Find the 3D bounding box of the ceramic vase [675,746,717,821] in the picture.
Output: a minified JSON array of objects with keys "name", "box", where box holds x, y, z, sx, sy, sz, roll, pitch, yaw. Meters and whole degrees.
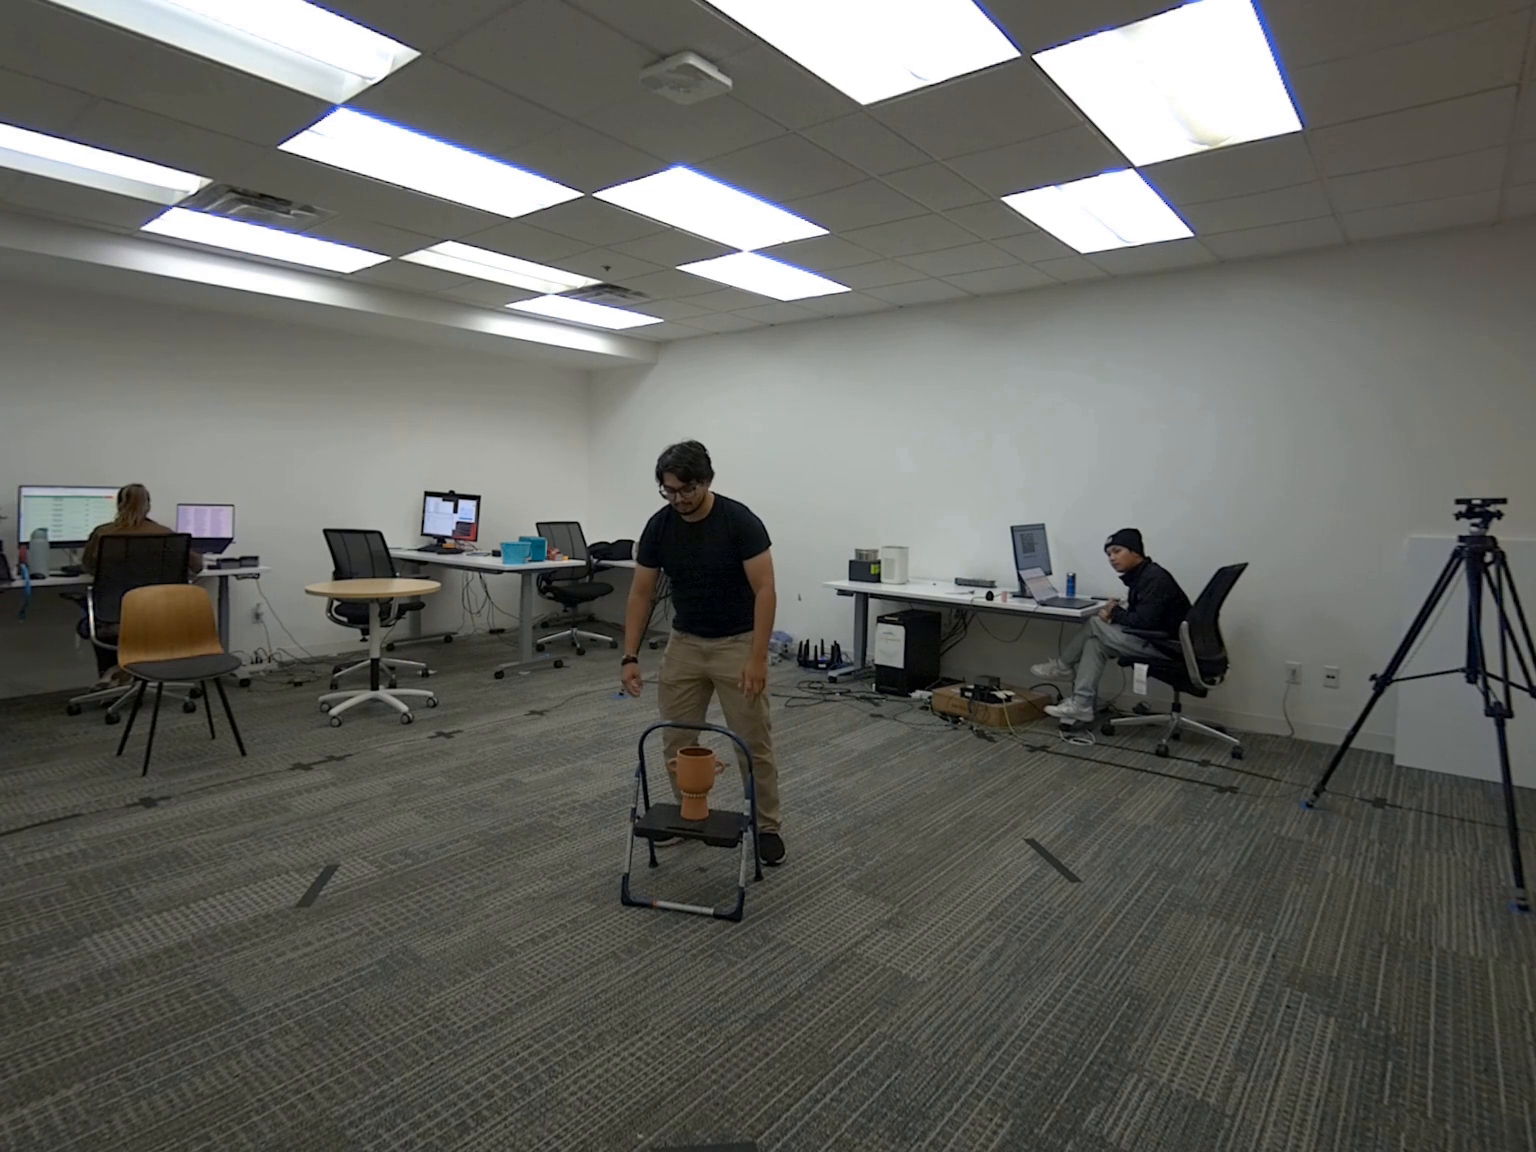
[{"name":"ceramic vase","box":[-0.259,0.715,2.939,0.164,0.219,0.130,3,2,37]}]
